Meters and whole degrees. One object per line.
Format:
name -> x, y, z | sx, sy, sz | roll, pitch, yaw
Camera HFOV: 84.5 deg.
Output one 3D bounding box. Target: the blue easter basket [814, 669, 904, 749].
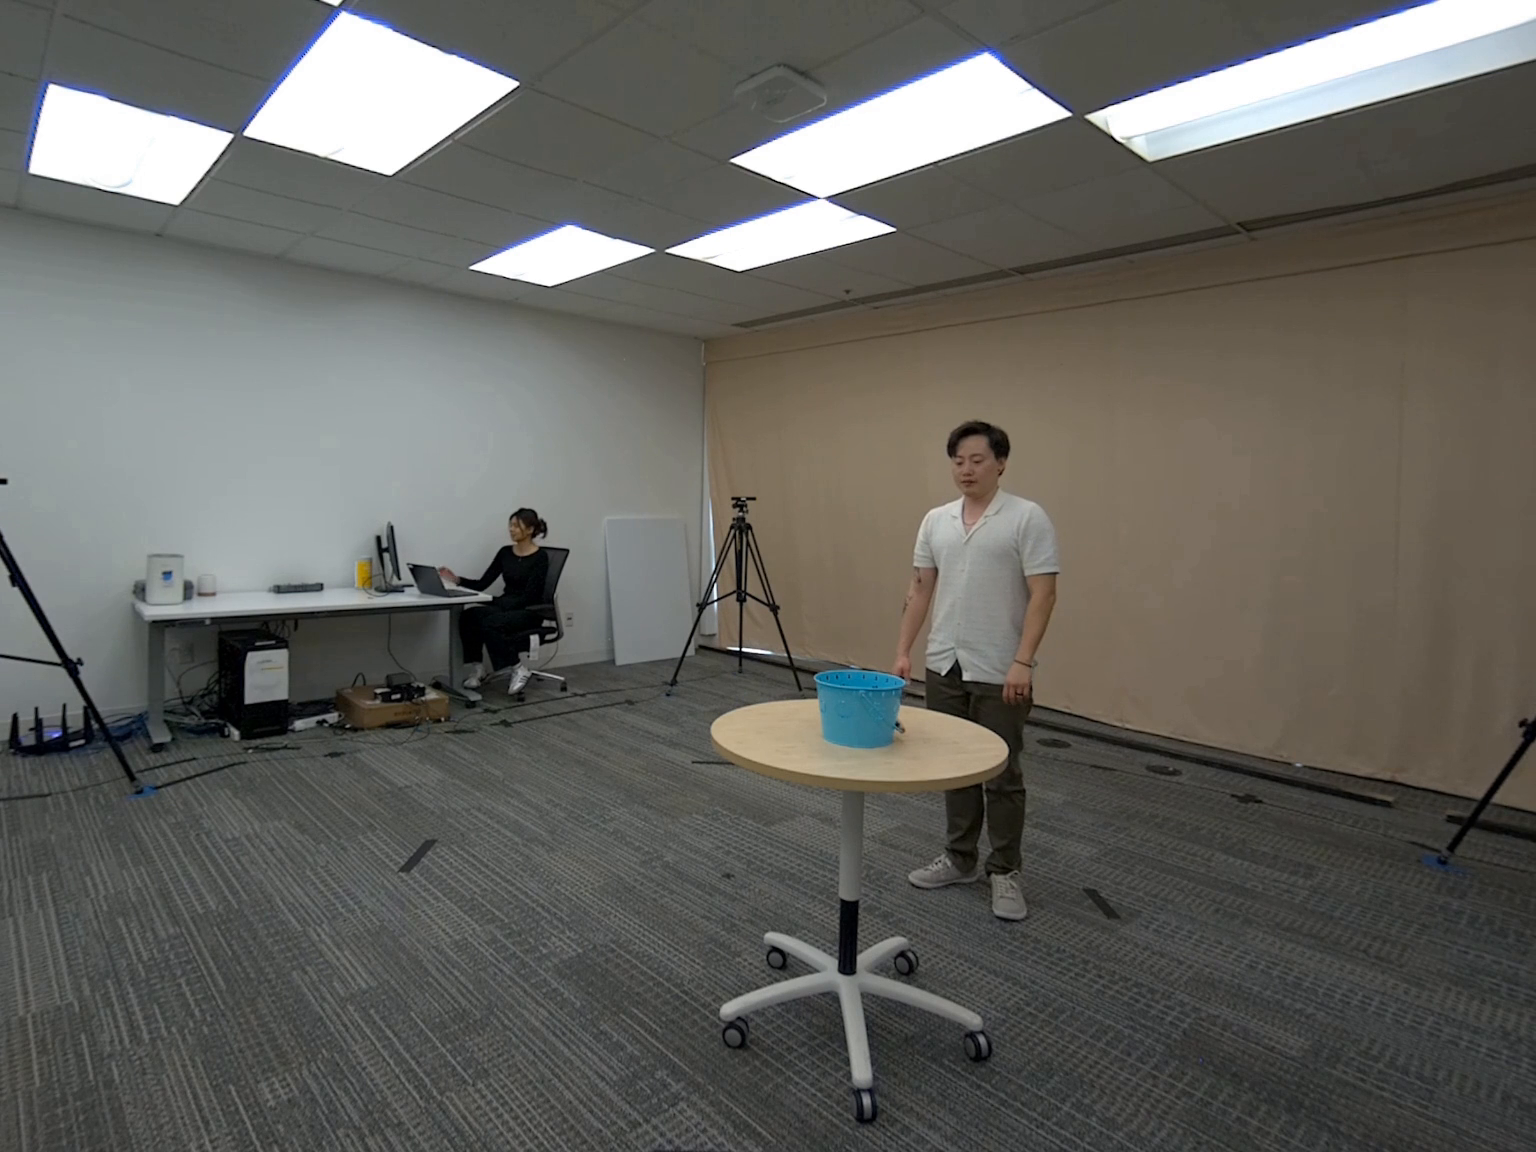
blue easter basket -> 0.230, 0.348, 2.160 | 0.243, 0.155, 0.244 | 2, 5, -2
